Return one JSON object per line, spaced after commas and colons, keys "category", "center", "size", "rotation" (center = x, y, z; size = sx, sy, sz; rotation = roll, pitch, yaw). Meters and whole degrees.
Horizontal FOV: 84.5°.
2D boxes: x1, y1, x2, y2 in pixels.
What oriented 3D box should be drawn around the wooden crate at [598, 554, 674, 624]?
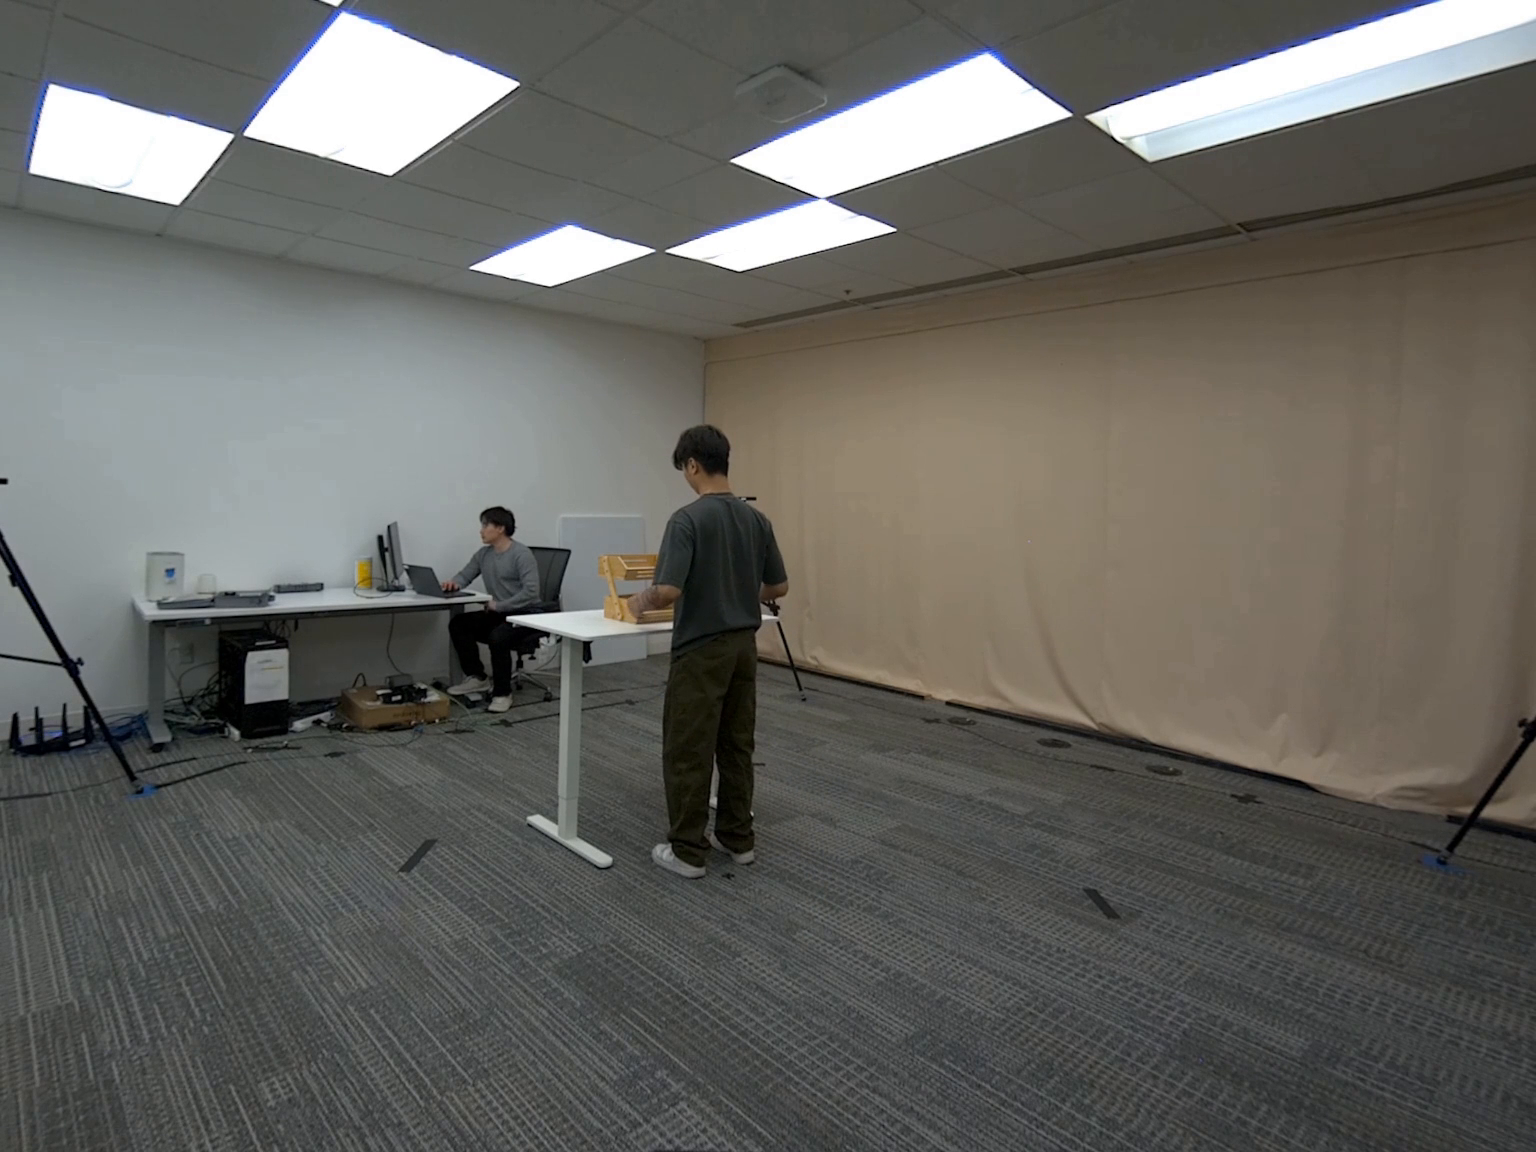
{"category": "wooden crate", "center": [-0.514, 0.044, 3.543], "size": [0.317, 0.273, 0.309], "rotation": [-1, 4, -43]}
